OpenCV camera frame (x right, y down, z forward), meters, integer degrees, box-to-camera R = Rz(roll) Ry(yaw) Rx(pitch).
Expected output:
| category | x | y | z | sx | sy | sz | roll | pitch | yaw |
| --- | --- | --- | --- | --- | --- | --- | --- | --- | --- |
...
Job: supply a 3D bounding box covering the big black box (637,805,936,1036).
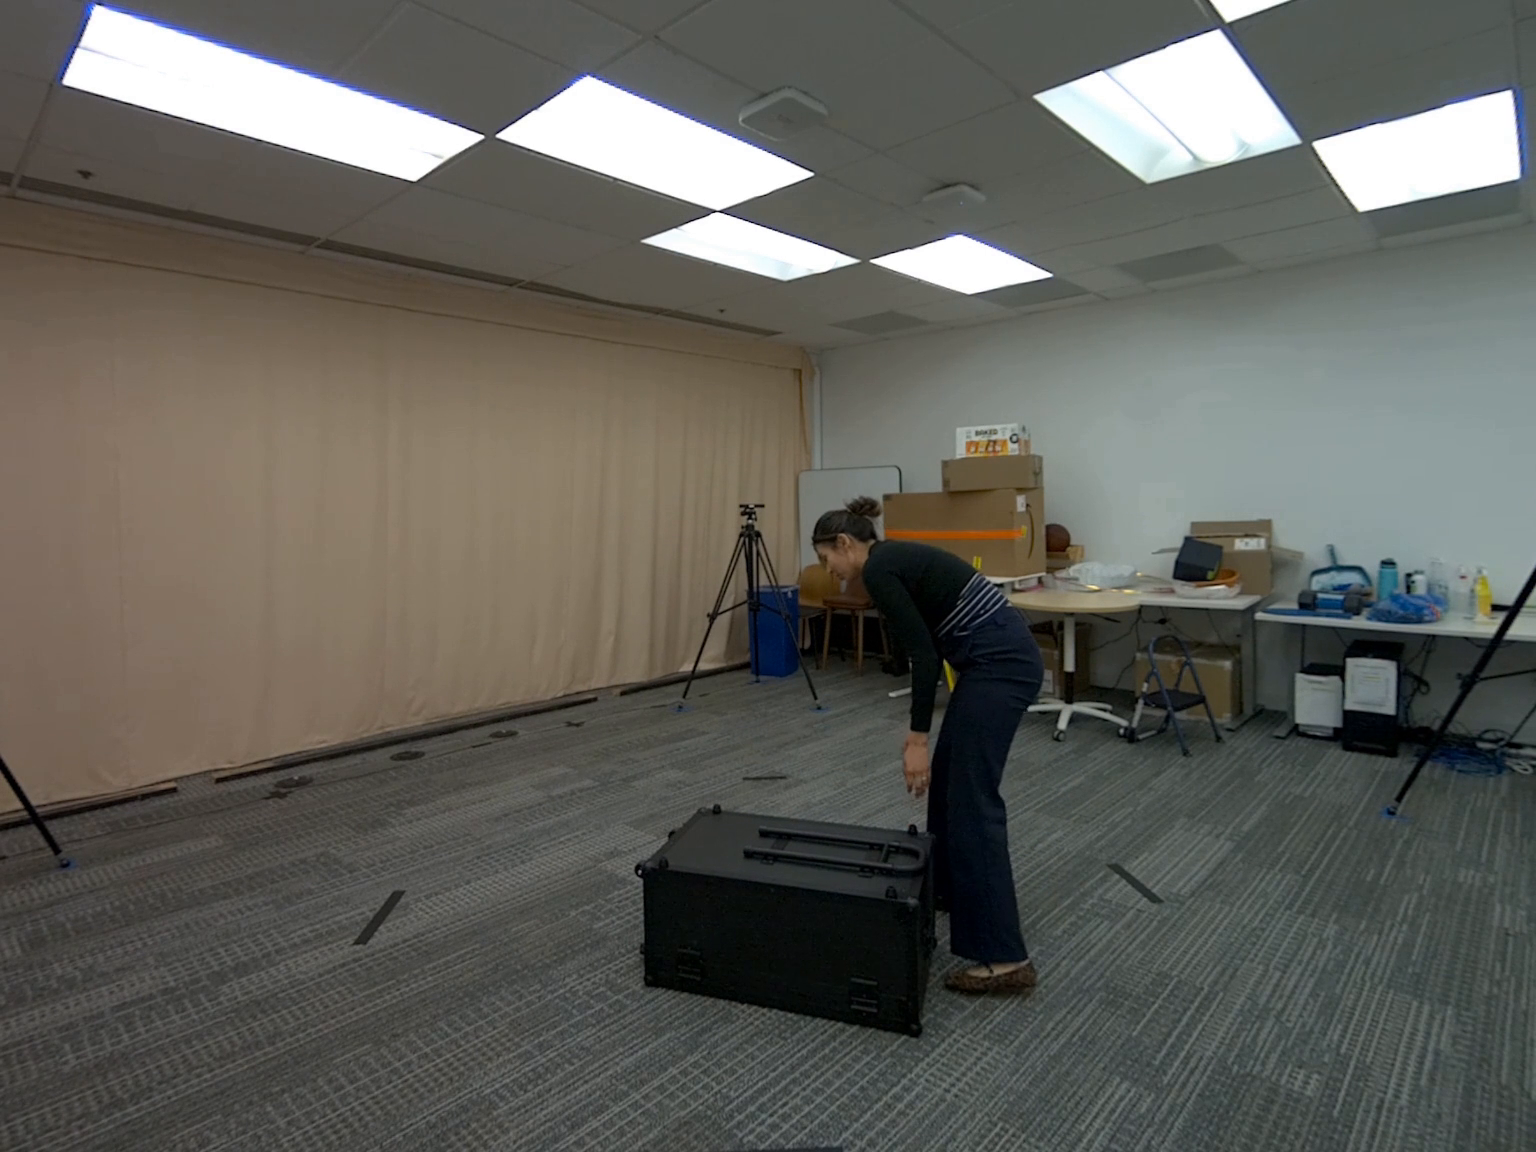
| category | x | y | z | sx | sy | sz | roll | pitch | yaw |
| --- | --- | --- | --- | --- | --- | --- | --- | --- | --- |
| big black box | 0.046 | 0.985 | 2.539 | 0.878 | 0.395 | 0.512 | -1 | 4 | 19 |
